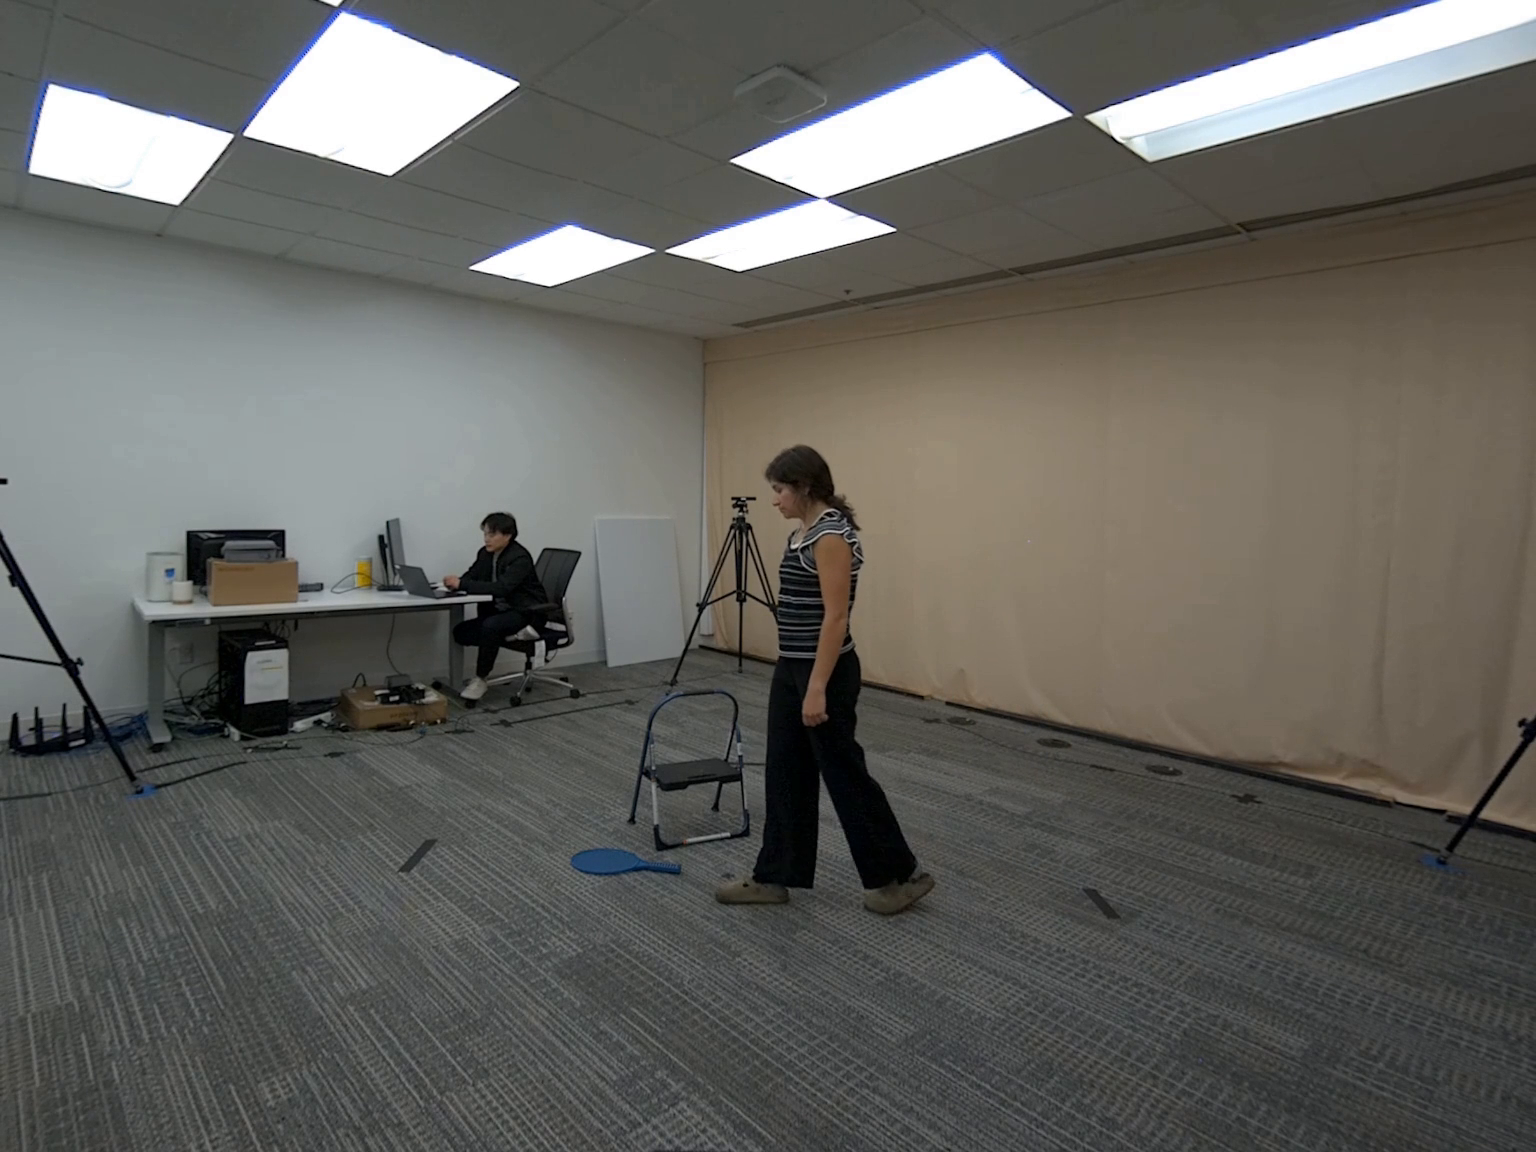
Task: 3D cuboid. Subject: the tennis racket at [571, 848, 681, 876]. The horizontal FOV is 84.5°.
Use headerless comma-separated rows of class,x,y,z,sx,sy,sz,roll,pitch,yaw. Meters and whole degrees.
tennis racket,-0.540,1.074,3.167,0.439,0.031,0.211,1,5,17
